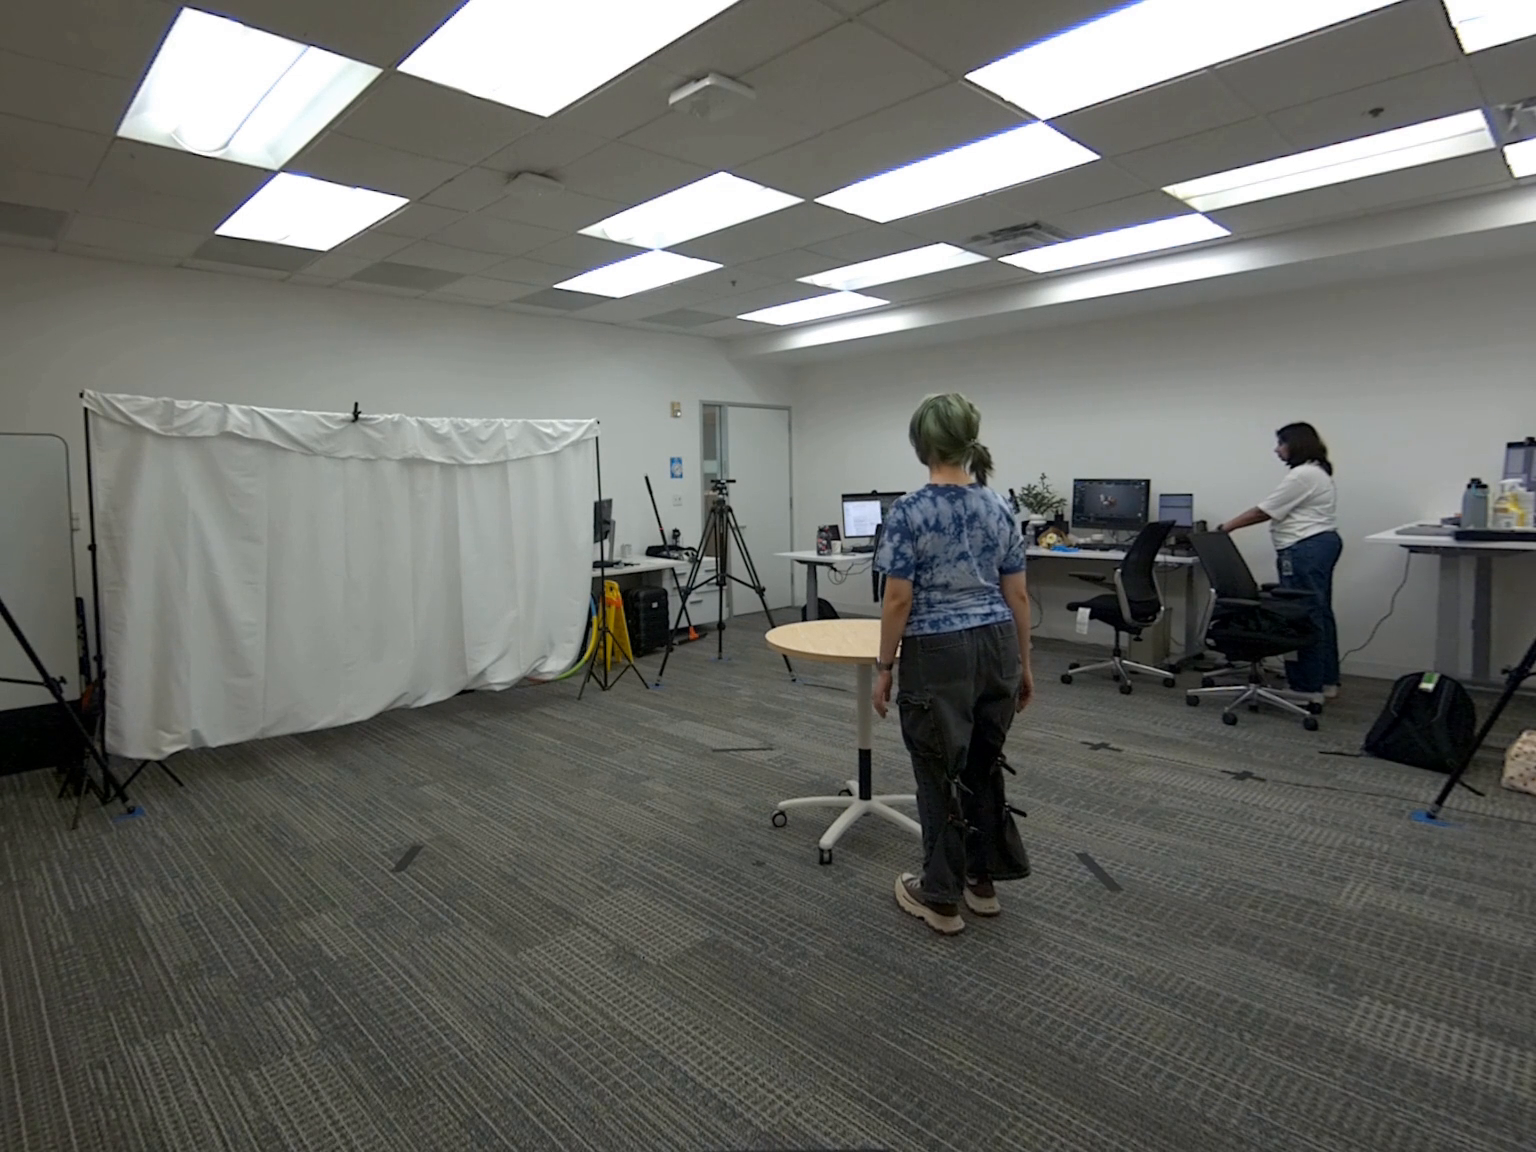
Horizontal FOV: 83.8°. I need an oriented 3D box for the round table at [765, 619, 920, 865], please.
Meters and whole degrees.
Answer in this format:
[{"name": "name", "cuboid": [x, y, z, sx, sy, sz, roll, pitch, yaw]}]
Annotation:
[{"name": "round table", "cuboid": [0.370, 0.624, 3.336, 0.763, 0.791, 0.768, -1, 5, -2]}]
